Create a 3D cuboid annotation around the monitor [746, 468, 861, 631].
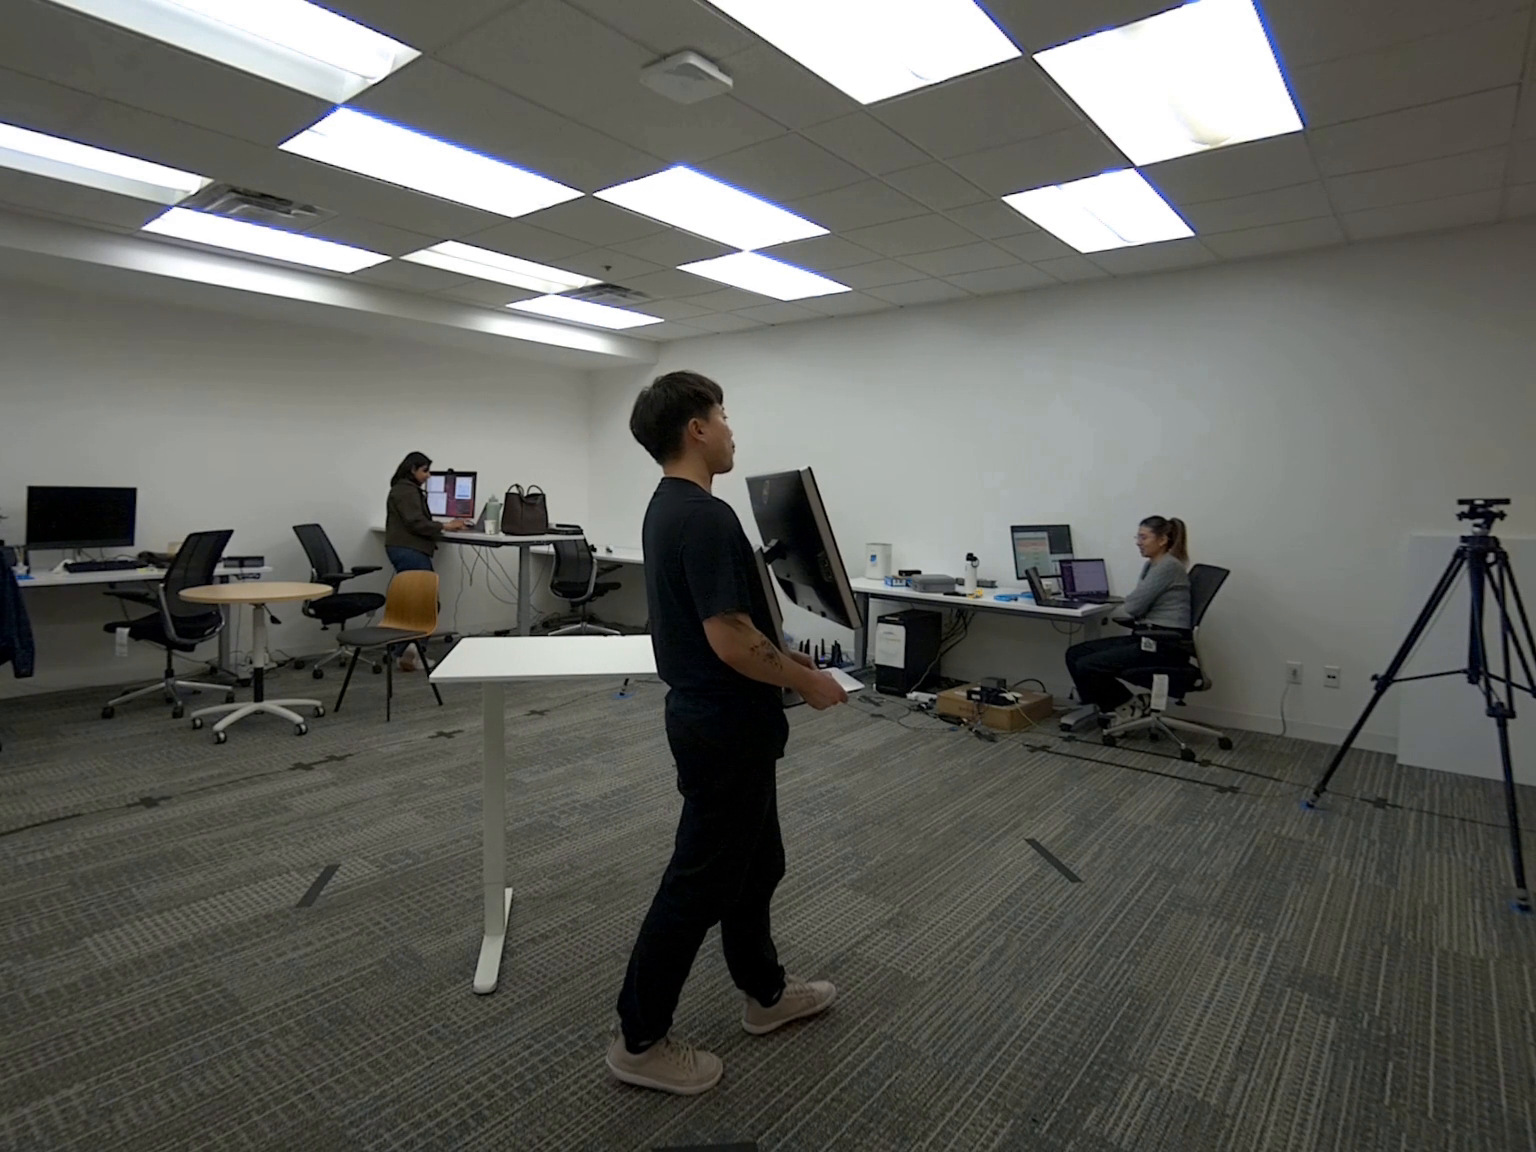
[{"bbox_3d":[0.048,0.015,2.055,0.185,0.521,0.547,-9,4,-13],"label":"monitor"}]
